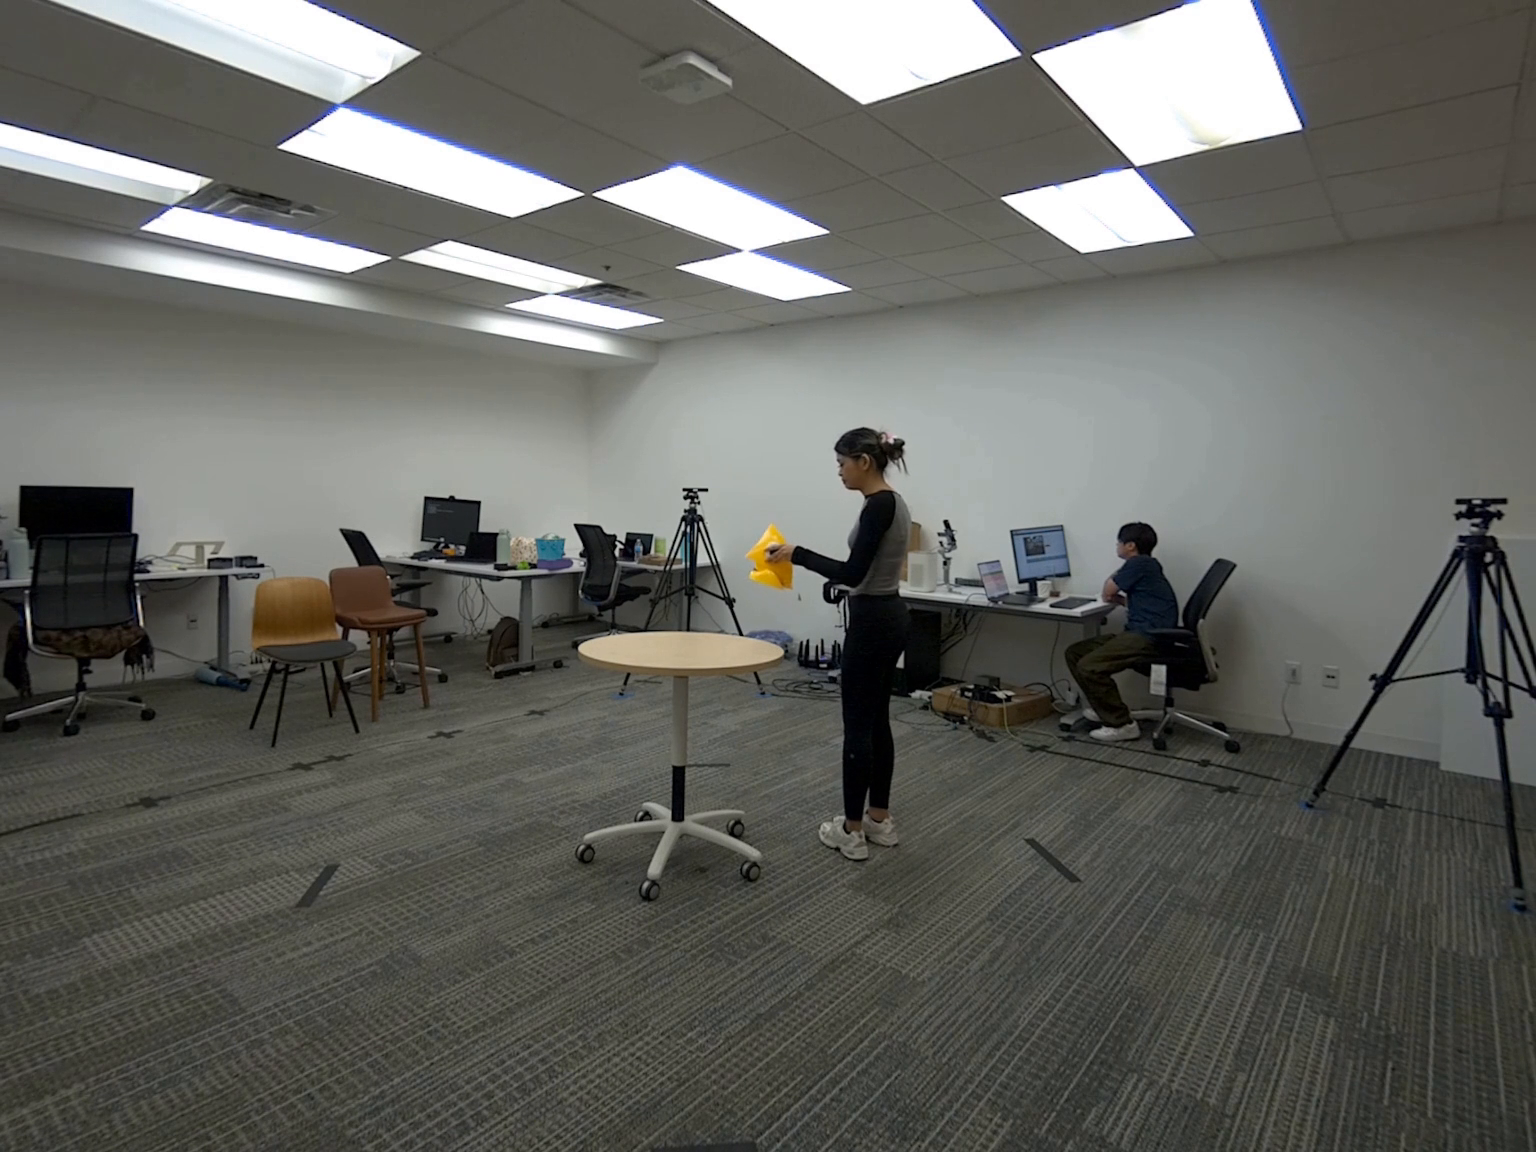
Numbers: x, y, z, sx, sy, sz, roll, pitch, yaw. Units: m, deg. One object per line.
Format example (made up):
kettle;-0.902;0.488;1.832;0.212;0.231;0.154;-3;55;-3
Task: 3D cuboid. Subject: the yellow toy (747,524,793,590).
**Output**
yellow toy;0.028;-0.088;3.433;0.198;0.230;0.200;19;4;20
